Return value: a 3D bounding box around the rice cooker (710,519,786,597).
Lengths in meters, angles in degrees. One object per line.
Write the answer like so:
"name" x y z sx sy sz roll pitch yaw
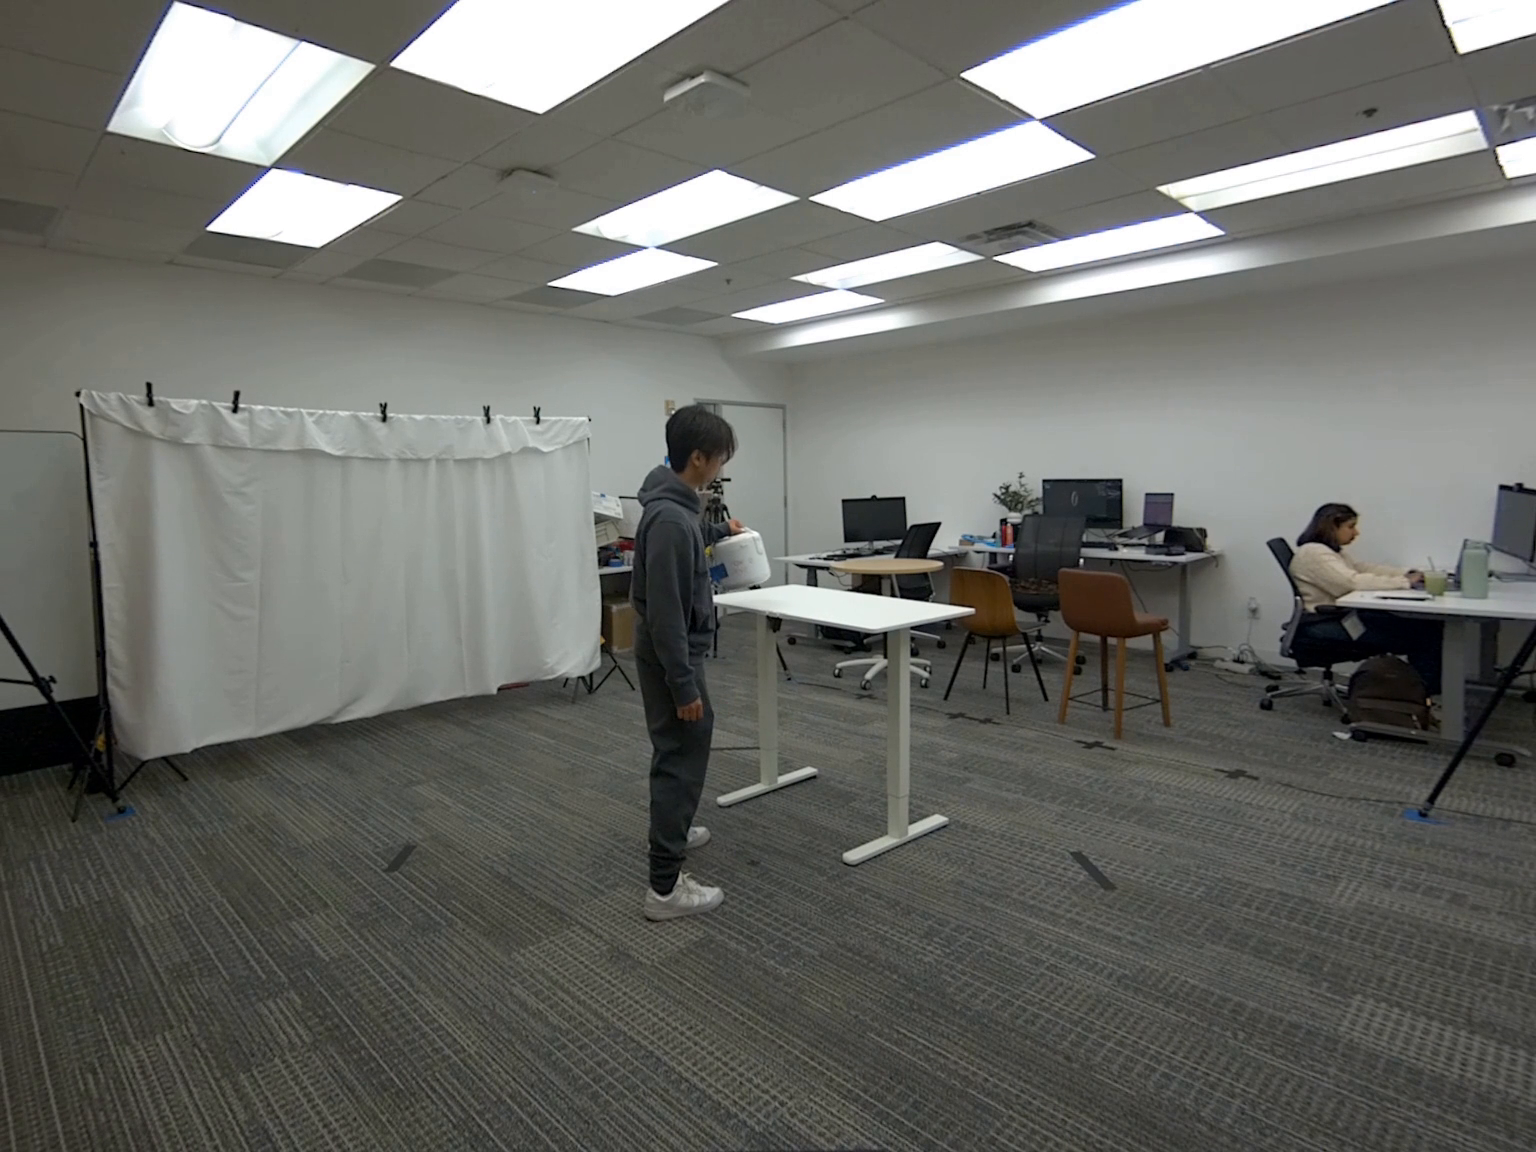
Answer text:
"rice cooker" -0.110 -0.073 3.399 0.225 0.232 0.214 -12 5 35
